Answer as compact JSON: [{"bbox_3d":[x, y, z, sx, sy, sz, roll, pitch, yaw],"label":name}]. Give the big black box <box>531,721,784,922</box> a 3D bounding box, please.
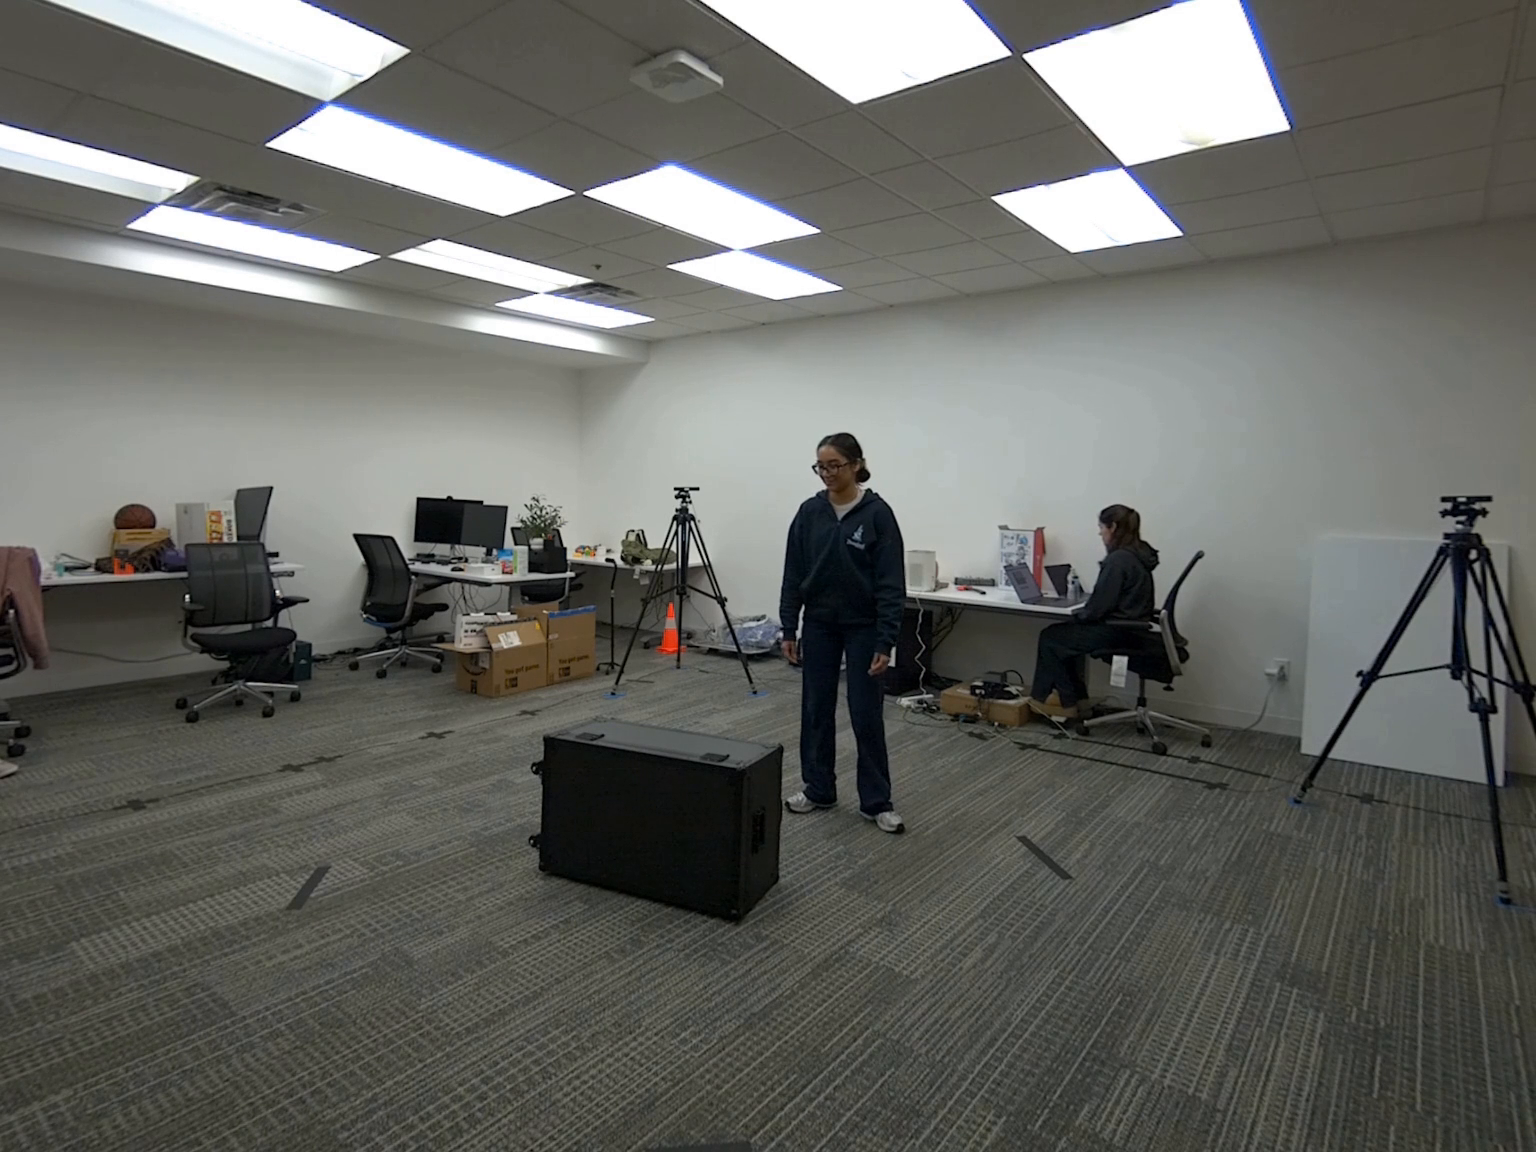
[{"bbox_3d":[-0.415,0.813,3.048,0.883,0.521,0.387,3,1,24],"label":"big black box"}]
